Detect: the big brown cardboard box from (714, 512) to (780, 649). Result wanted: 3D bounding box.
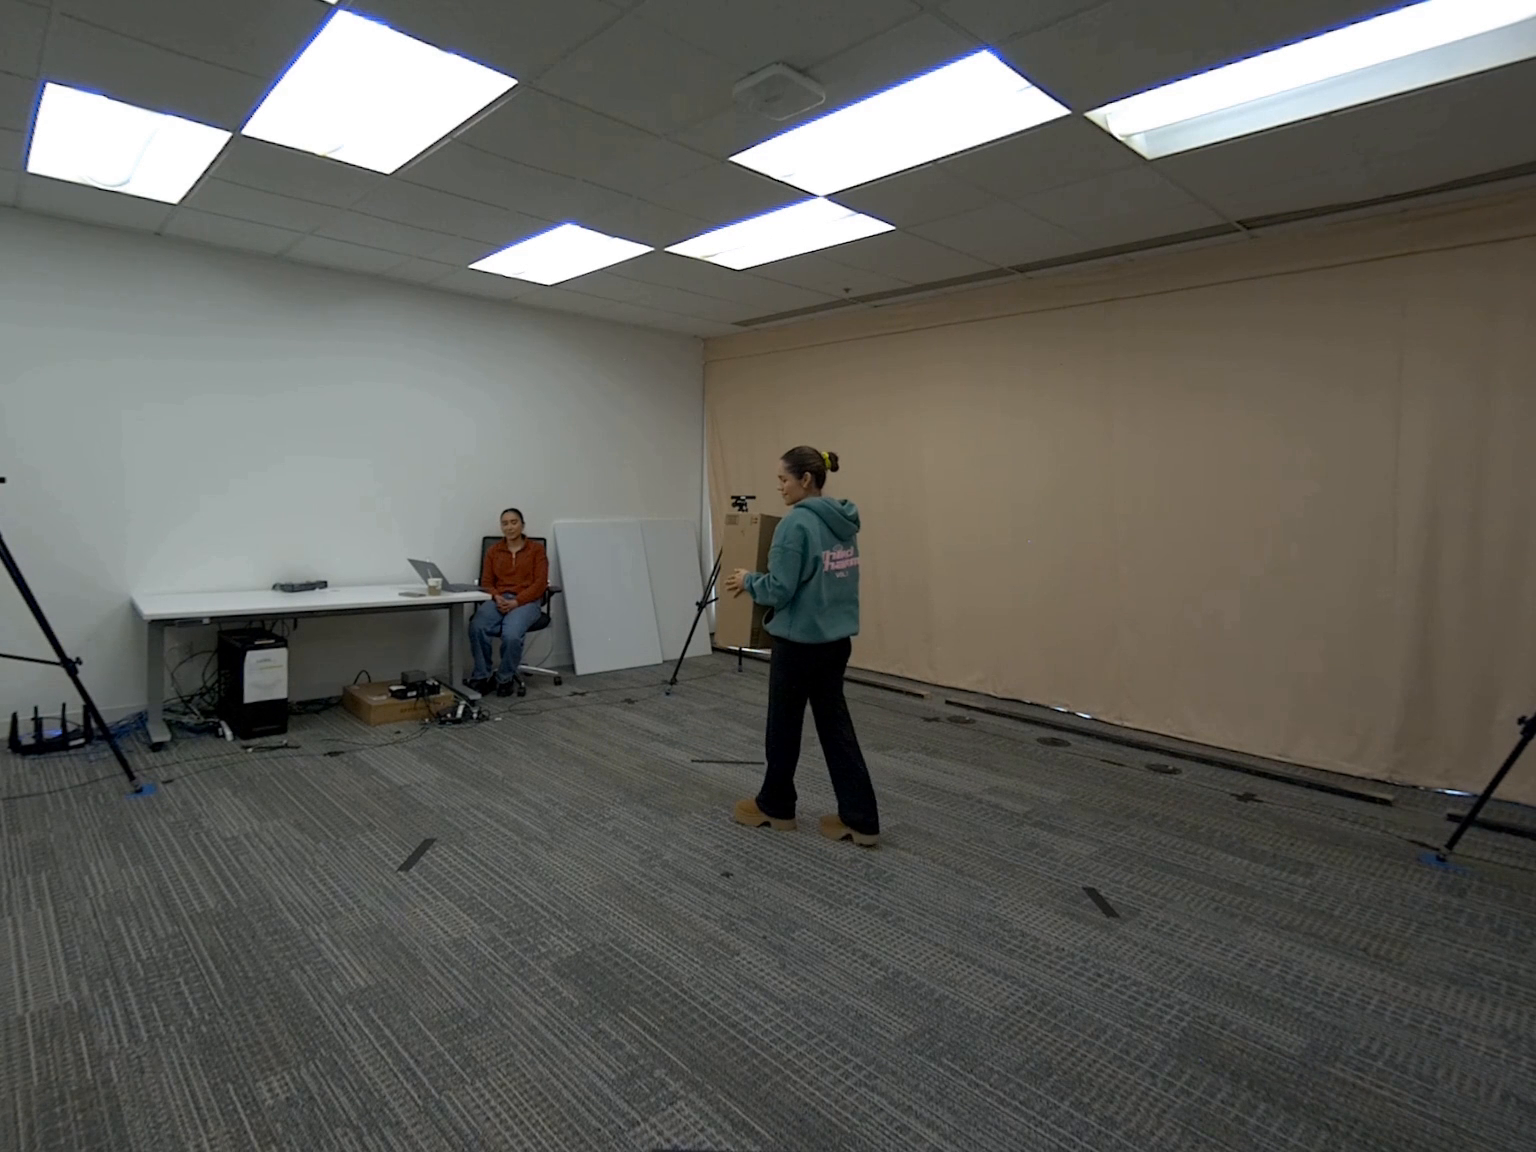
[{"bbox_3d":[0.001,0.028,3.707,0.239,0.590,0.407,2,-3,45],"label":"big brown cardboard box"}]
